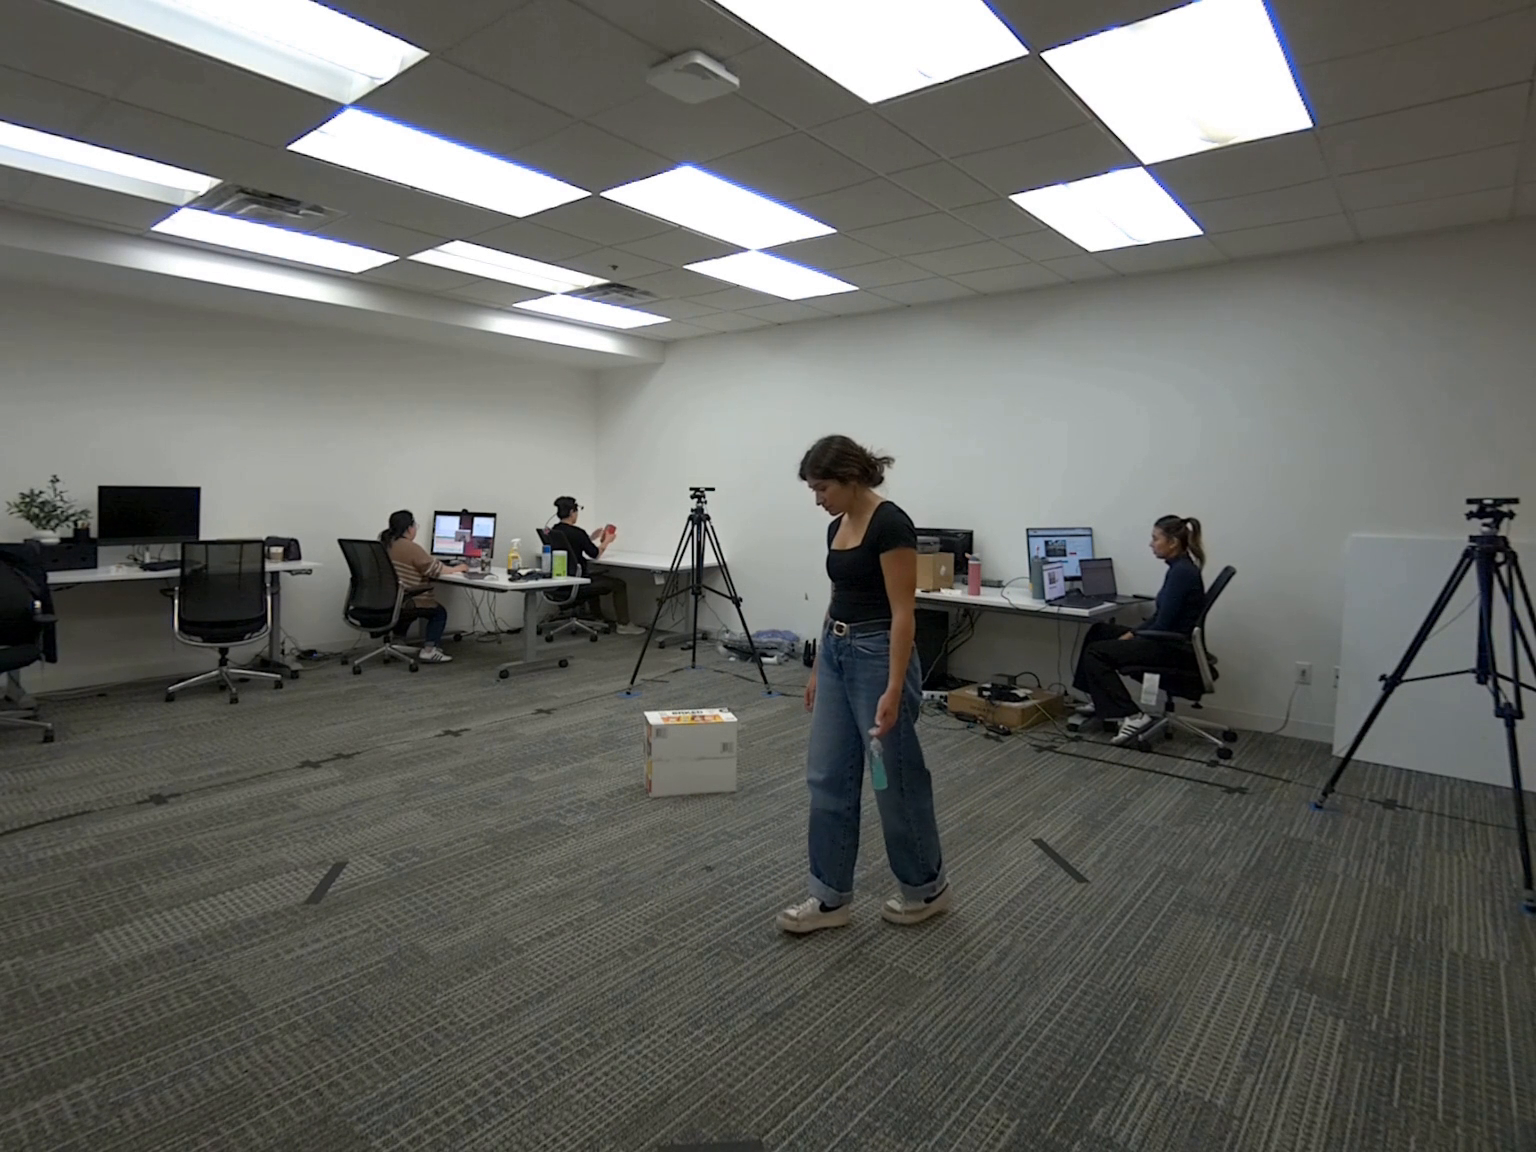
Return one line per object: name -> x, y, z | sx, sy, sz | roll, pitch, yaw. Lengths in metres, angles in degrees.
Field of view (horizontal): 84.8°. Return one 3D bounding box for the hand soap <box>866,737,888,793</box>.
hand soap -> 0.319, 0.522, 2.458 | 0.043, 0.167, 0.085 | 0, 6, -4
